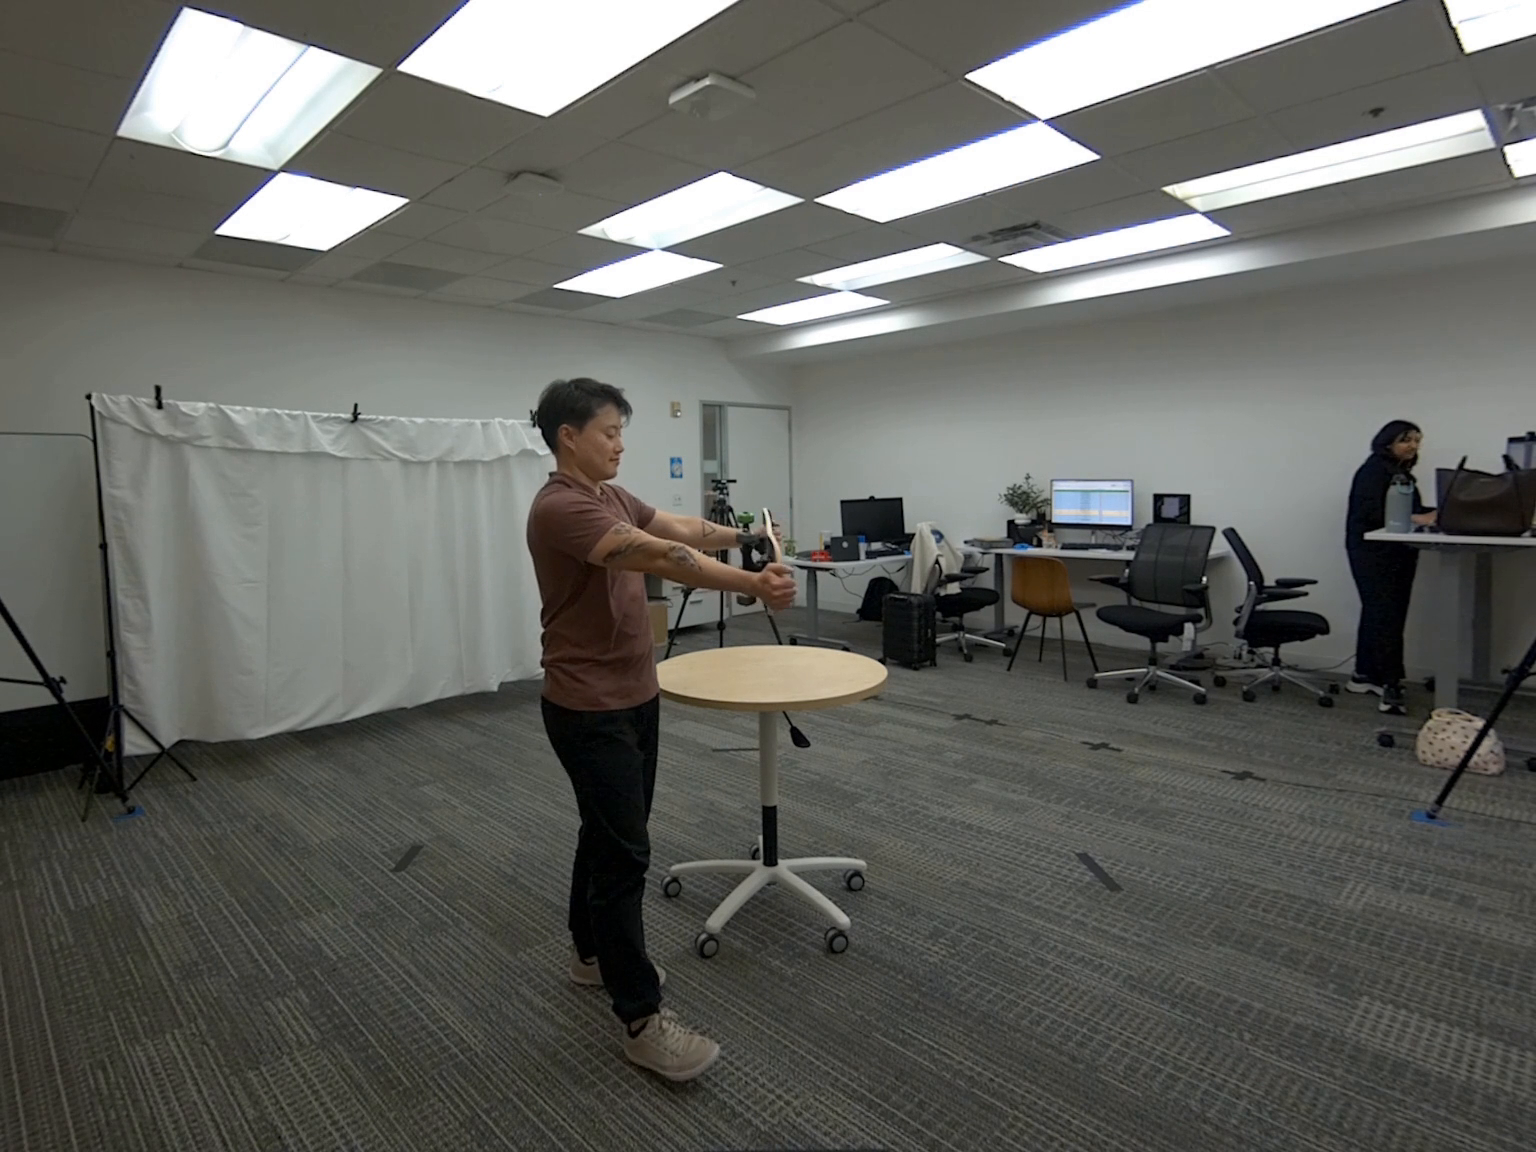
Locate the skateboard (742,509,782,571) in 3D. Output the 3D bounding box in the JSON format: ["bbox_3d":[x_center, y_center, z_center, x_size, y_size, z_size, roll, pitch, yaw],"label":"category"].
[{"bbox_3d":[-0.032,-0.063,2.298,0.110,0.192,0.792,-9,10,-1],"label":"skateboard"}]
